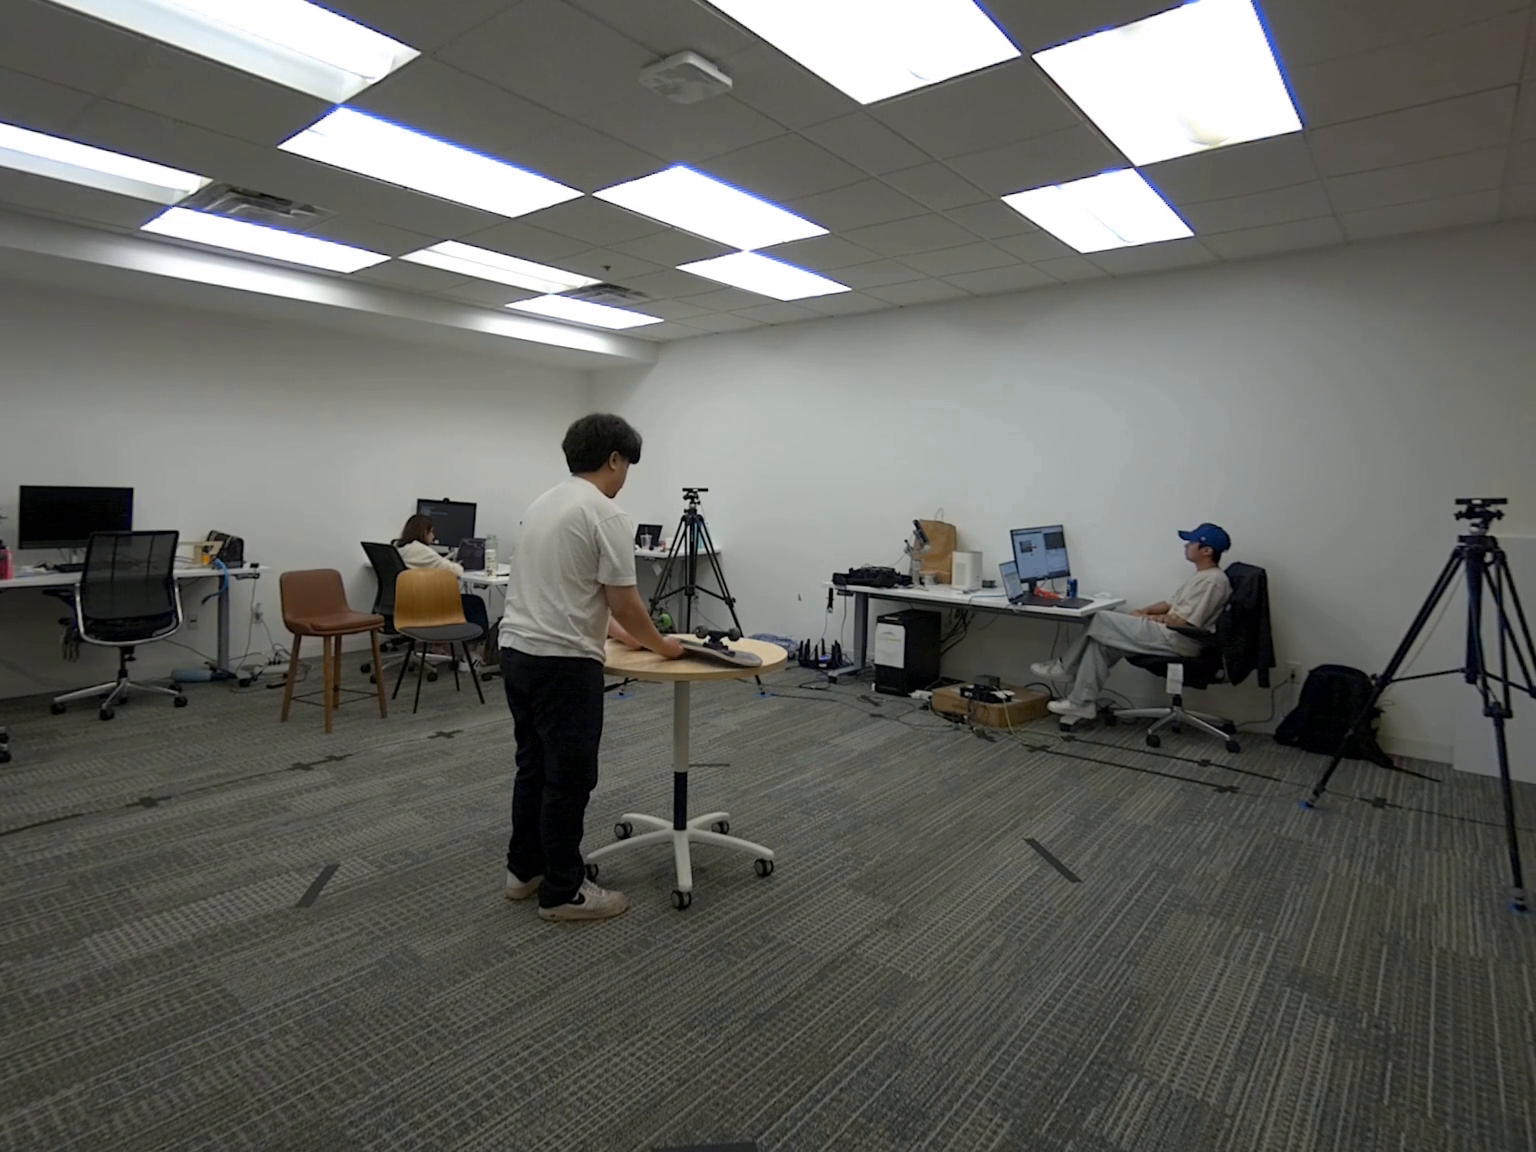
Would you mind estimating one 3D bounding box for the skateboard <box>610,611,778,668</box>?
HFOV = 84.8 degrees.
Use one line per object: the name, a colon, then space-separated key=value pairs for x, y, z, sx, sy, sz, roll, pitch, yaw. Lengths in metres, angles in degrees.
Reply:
skateboard: x=-0.319 y=0.218 z=3.098 sx=0.187 sy=0.110 sz=0.812 roll=6 pitch=0 yaw=-43
